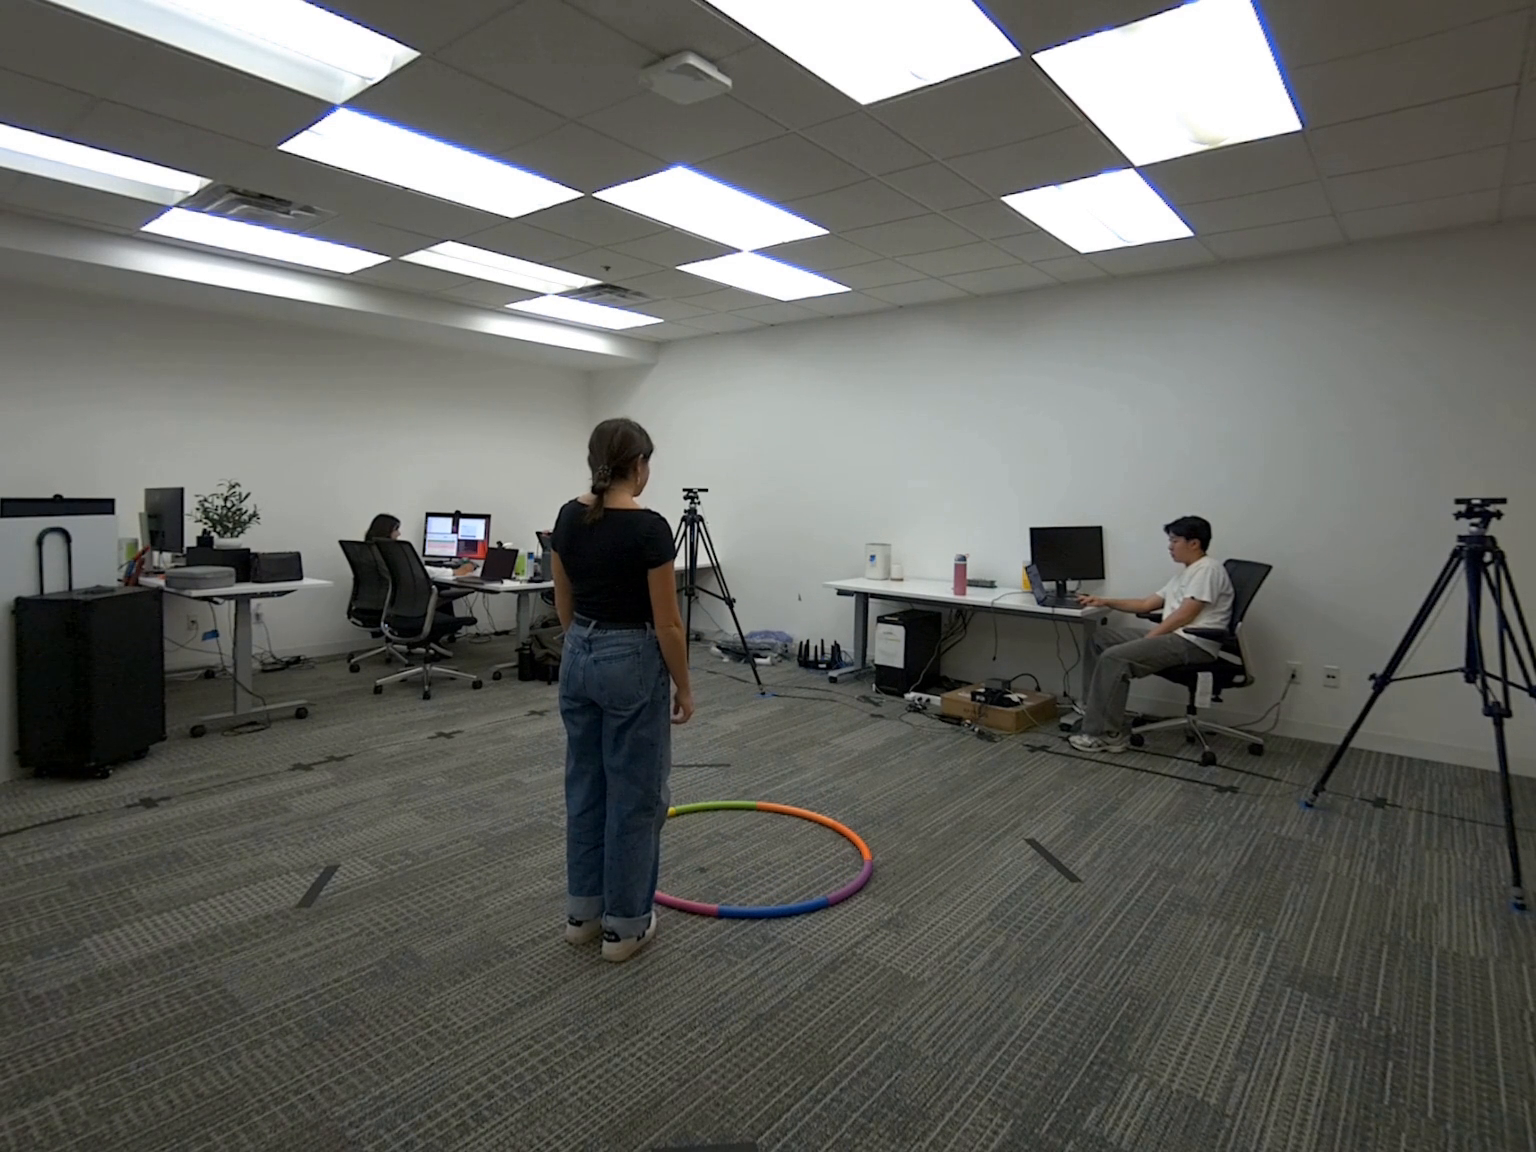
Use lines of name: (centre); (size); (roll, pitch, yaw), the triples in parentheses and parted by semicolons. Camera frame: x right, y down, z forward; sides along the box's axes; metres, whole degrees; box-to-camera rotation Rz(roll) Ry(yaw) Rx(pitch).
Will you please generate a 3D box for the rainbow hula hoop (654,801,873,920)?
rainbow hula hoop: (-0.100, 1.025, 3.231); (0.978, 0.035, 0.984); (1, 6, -2)
